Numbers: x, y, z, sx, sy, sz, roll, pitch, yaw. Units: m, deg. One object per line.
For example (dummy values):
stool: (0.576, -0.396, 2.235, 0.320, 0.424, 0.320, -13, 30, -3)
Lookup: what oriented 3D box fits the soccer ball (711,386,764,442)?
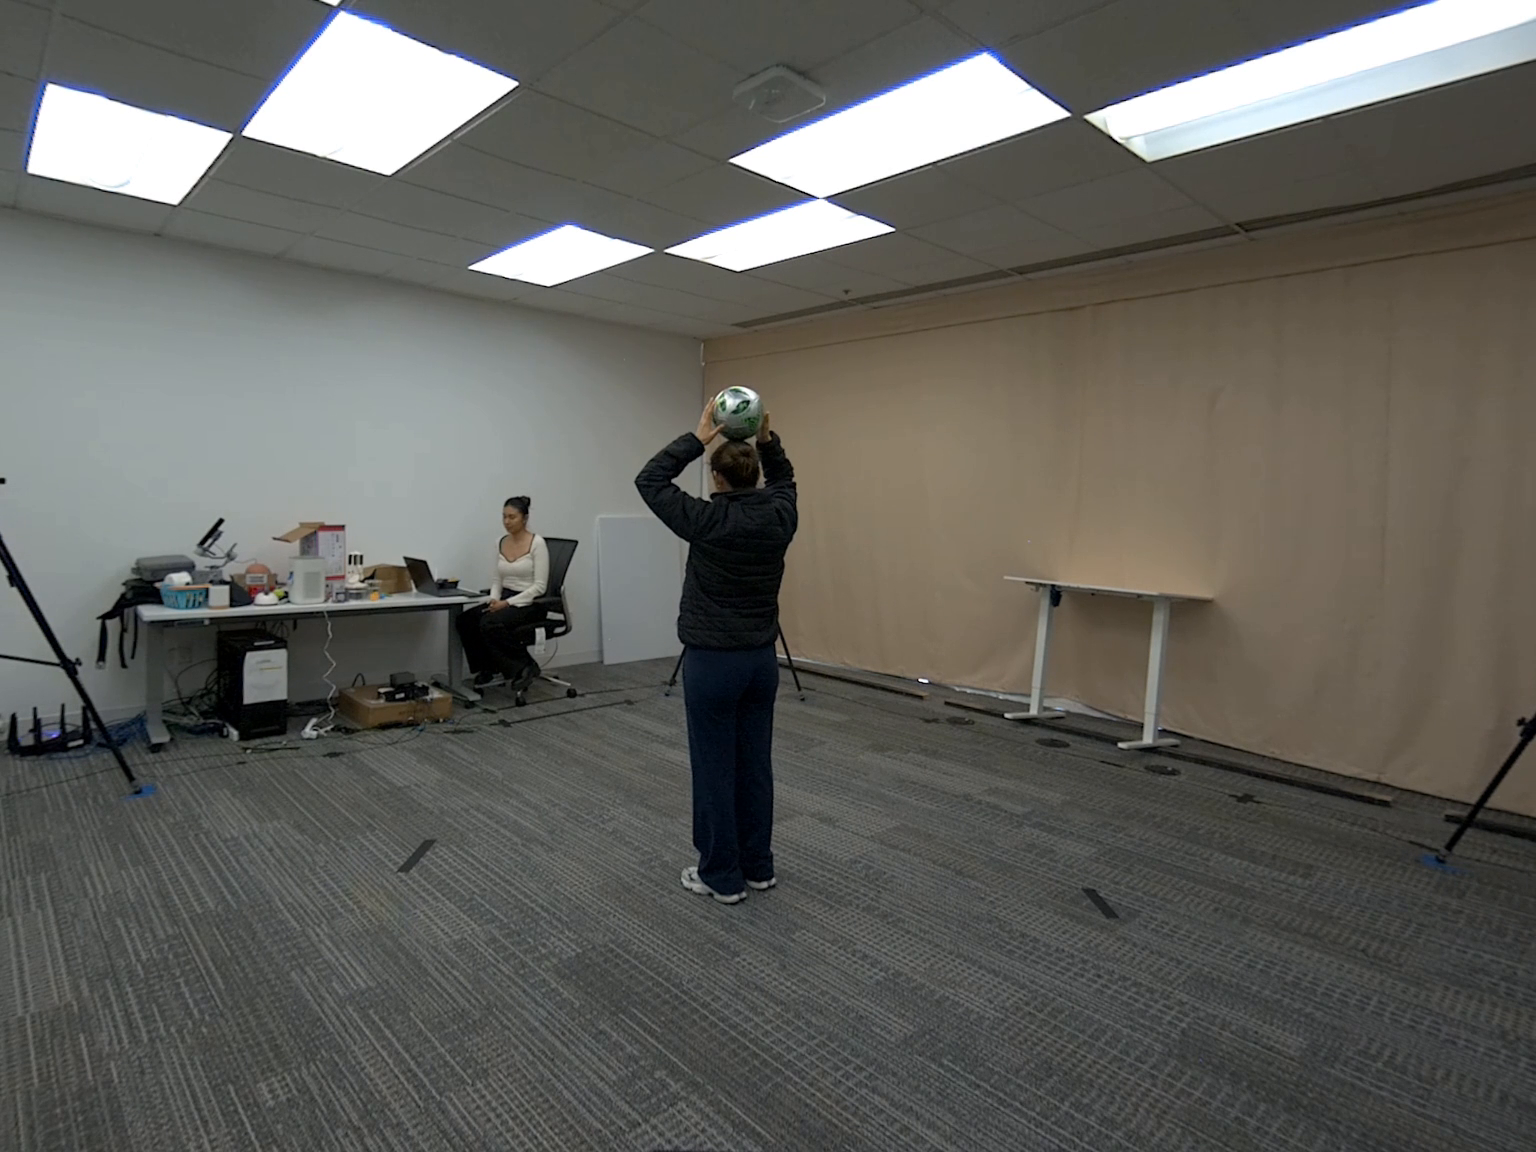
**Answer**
soccer ball: (-0.110, -0.563, 2.923, 0.187, 0.187, 0.188, 1, 4, -1)
